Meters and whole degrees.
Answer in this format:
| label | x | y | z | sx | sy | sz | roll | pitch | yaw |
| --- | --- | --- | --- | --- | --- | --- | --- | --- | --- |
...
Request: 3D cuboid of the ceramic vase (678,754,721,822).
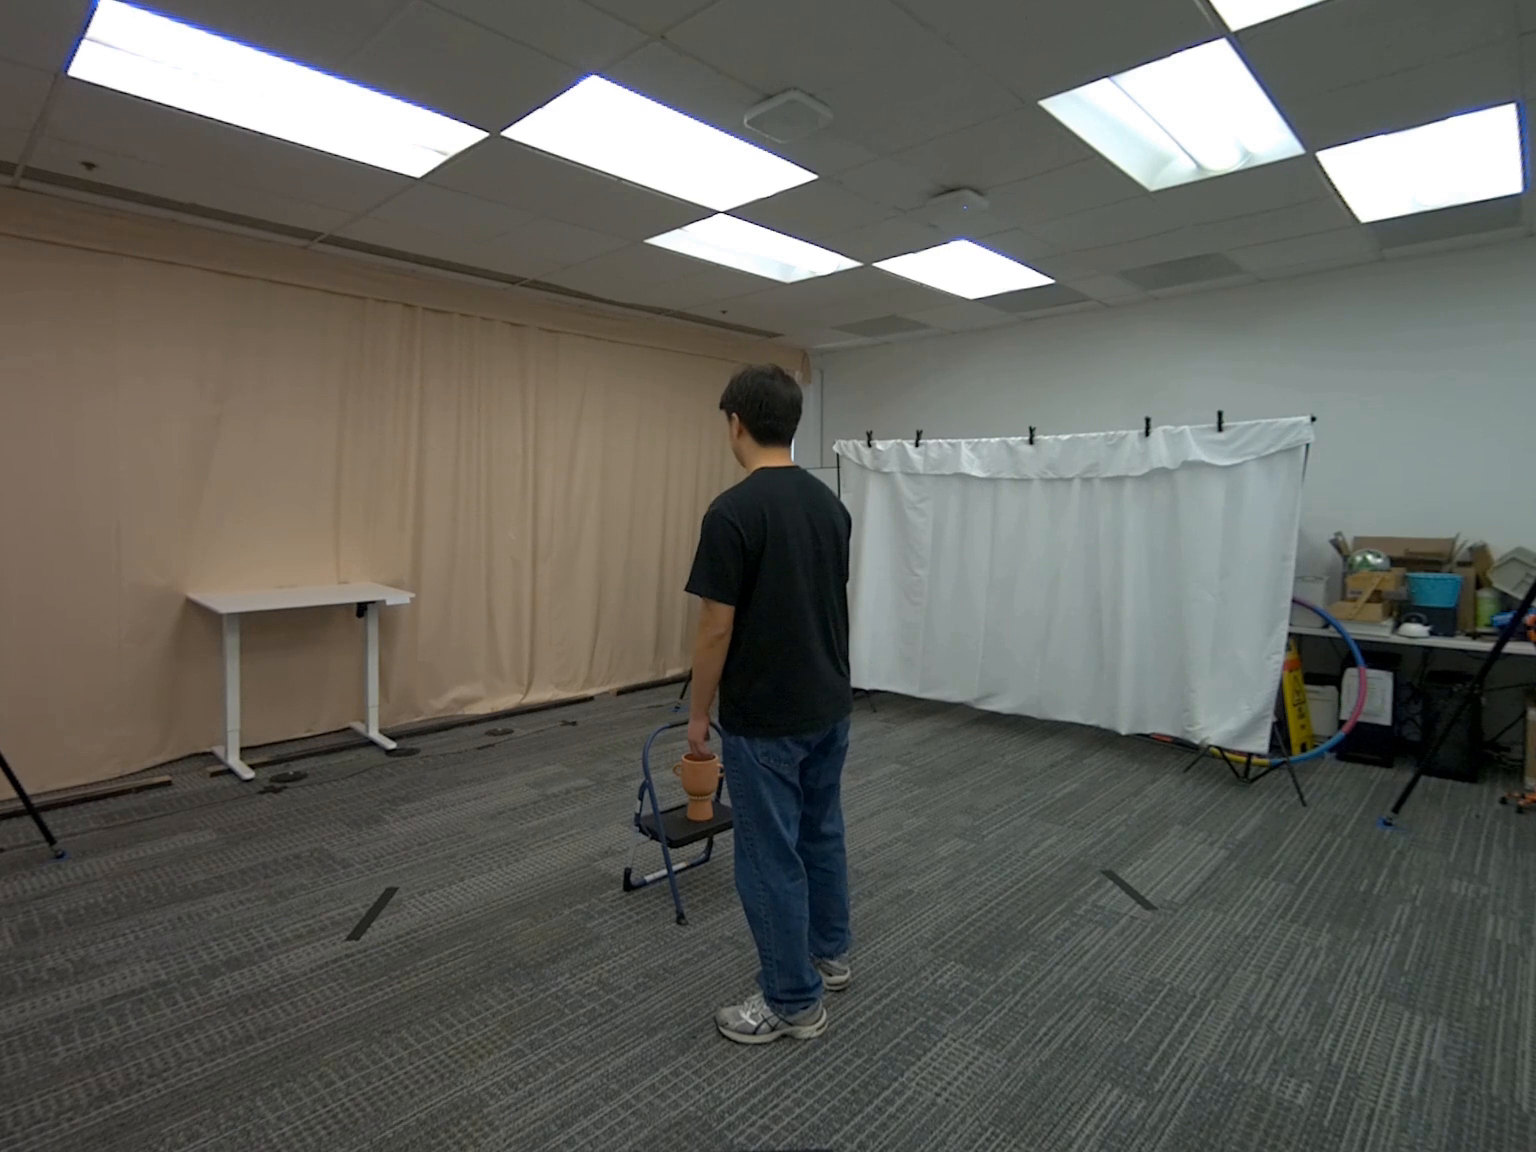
| label | x | y | z | sx | sy | sz | roll | pitch | yaw |
| --- | --- | --- | --- | --- | --- | --- | --- | --- | --- |
| ceramic vase | -0.247 | 0.764 | 3.064 | 0.164 | 0.219 | 0.130 | 5 | 7 | 43 |
